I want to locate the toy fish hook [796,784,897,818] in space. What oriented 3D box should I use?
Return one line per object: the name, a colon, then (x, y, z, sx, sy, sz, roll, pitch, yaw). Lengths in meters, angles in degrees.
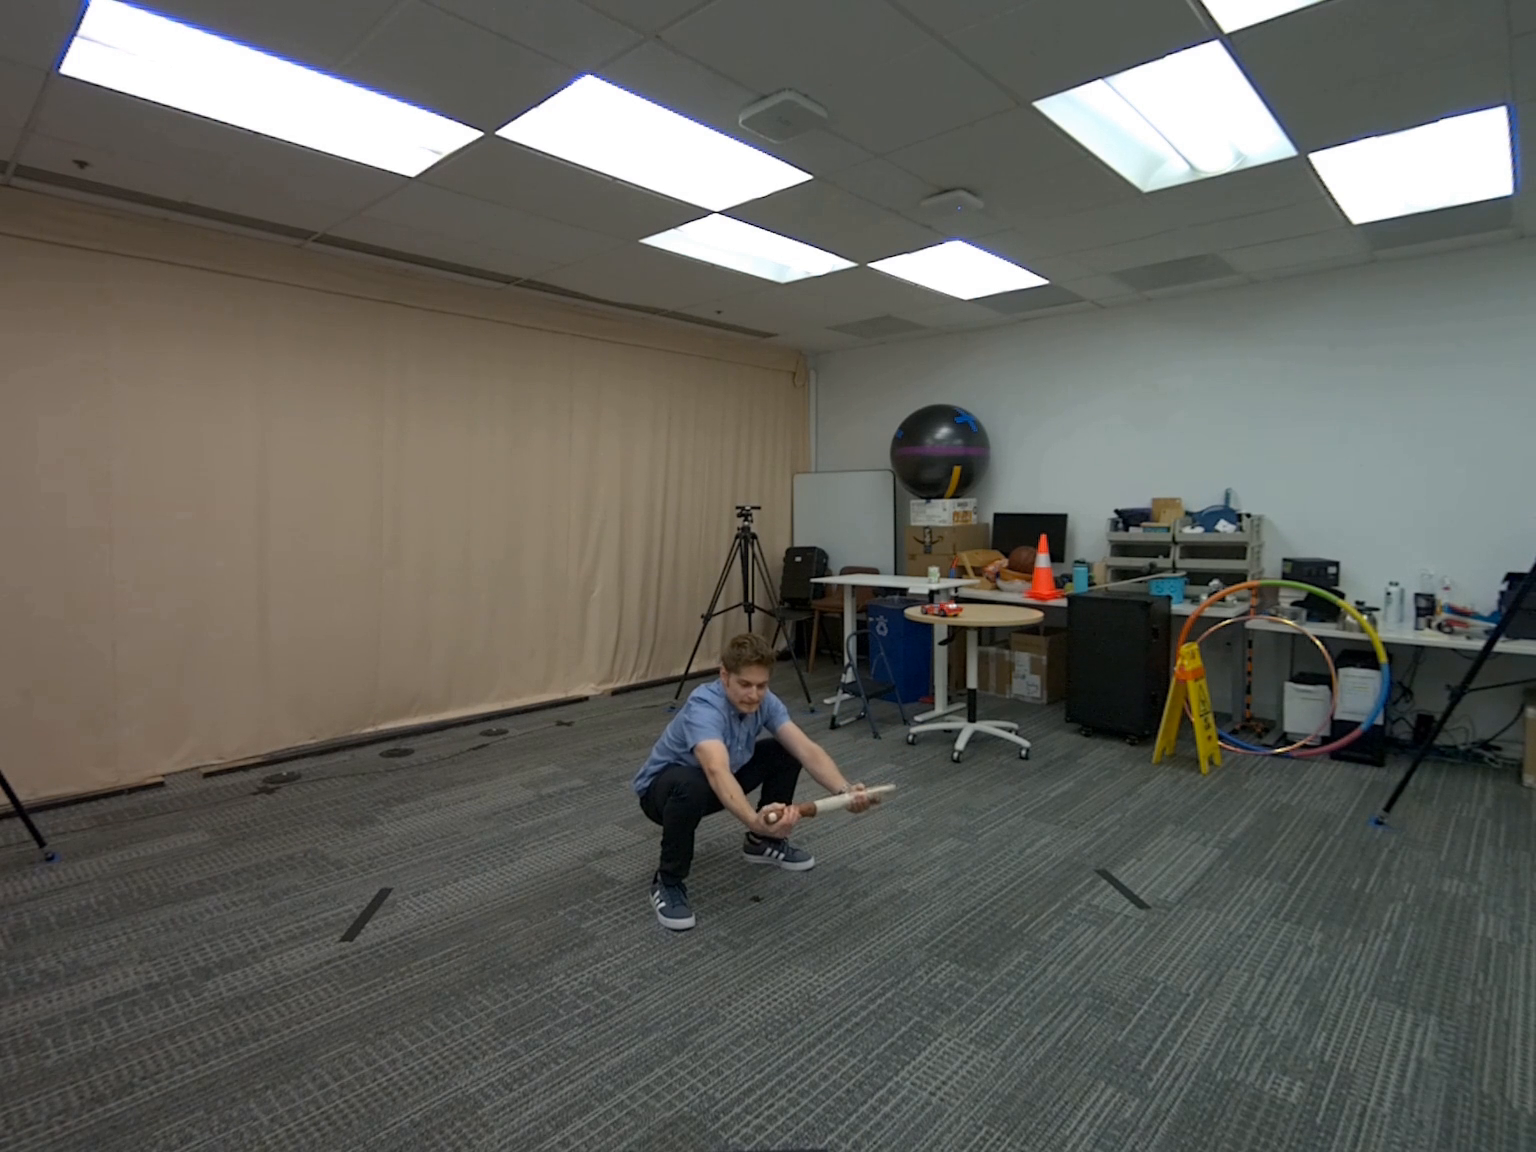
toy fish hook: (0.204, 0.674, 2.525, 0.490, 0.049, 0.228, 2, -27, -44)
